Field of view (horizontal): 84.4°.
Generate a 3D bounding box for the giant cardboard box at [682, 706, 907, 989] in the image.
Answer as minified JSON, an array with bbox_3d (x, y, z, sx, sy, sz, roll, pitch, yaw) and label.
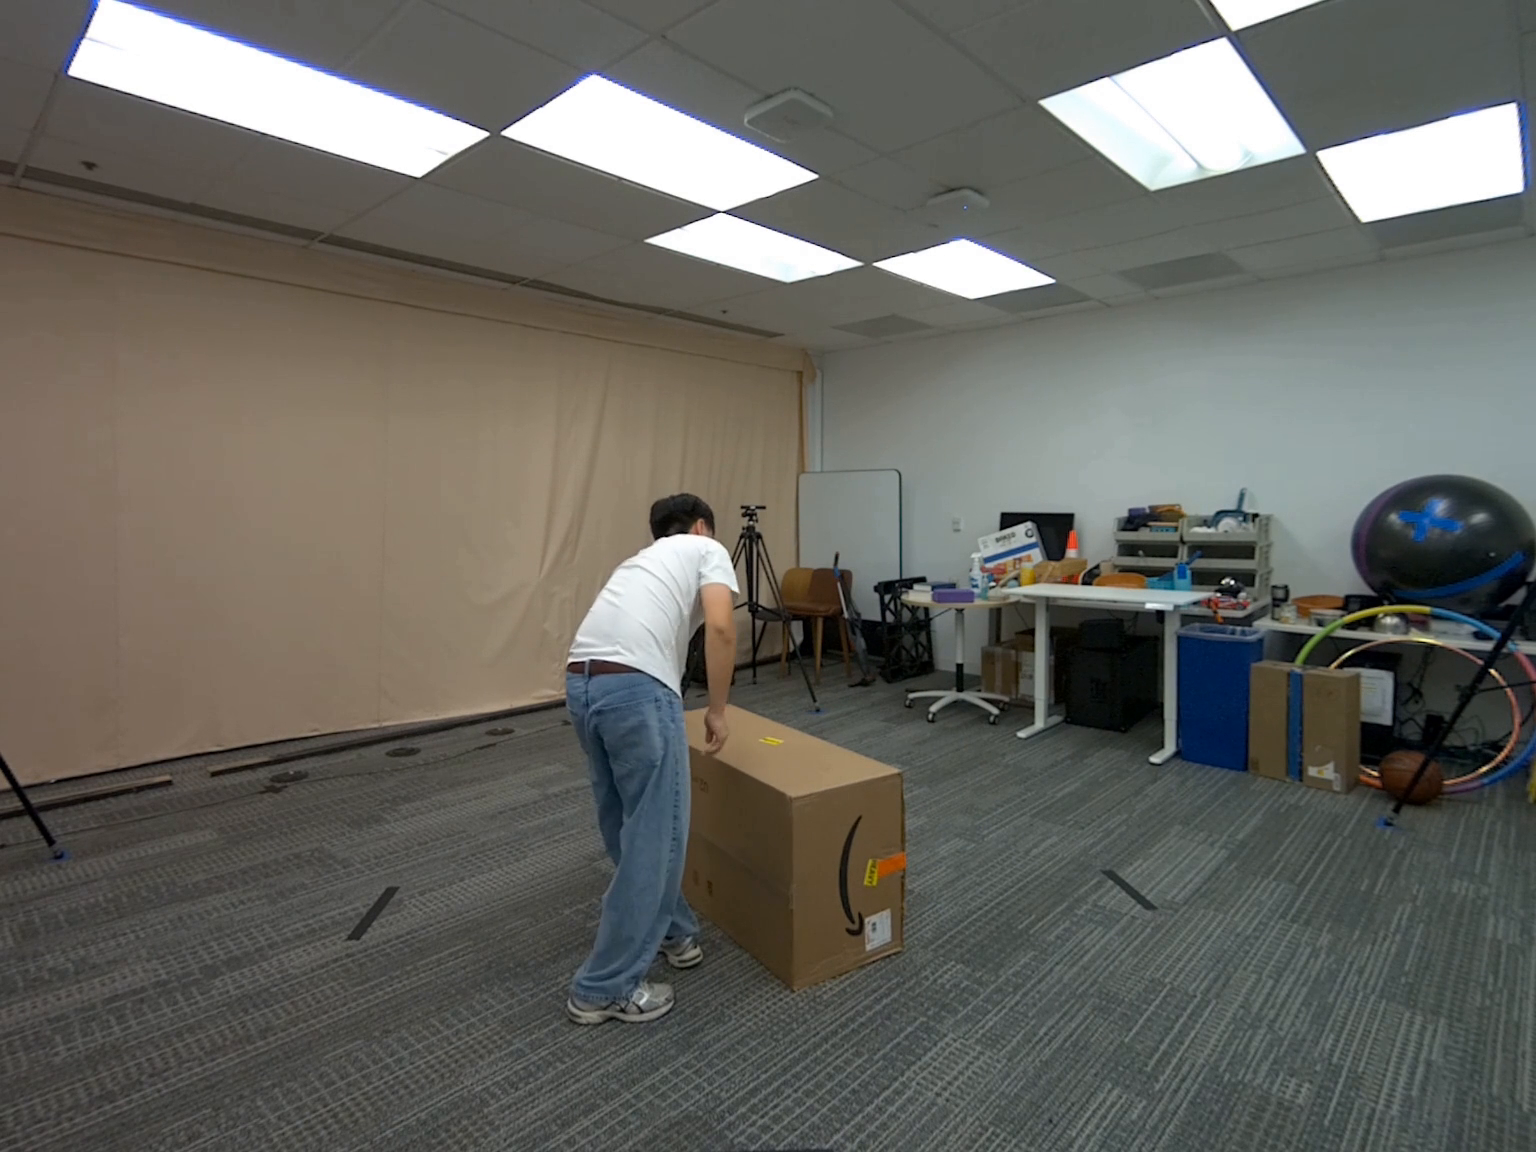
[{"bbox_3d":[-0.032,0.860,2.941,0.414,0.576,1.057,-4,5,-33],"label":"giant cardboard box"}]
